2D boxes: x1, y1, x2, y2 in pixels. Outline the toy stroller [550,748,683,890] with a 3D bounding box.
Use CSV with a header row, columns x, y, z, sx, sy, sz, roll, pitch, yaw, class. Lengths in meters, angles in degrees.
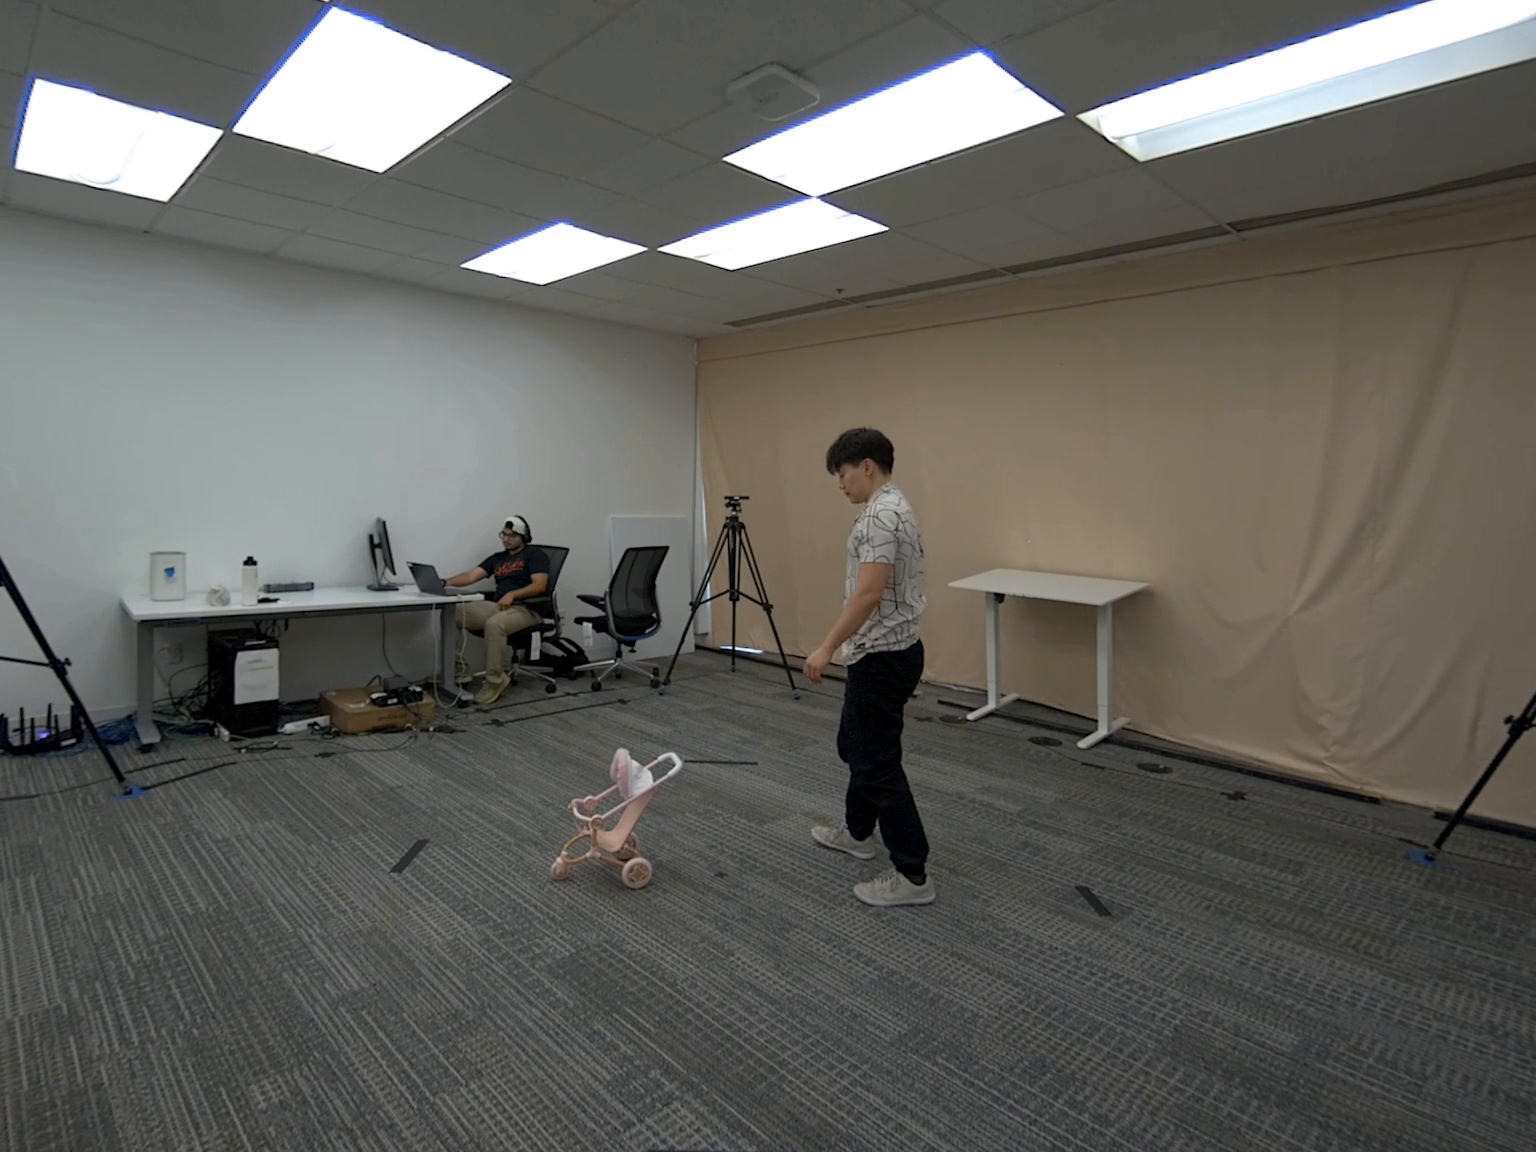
x,y,z,sx,sy,sz,roll,pitch,yaw,class
-0.564,0.872,3.077,0.337,0.535,0.285,18,0,-14,toy stroller
